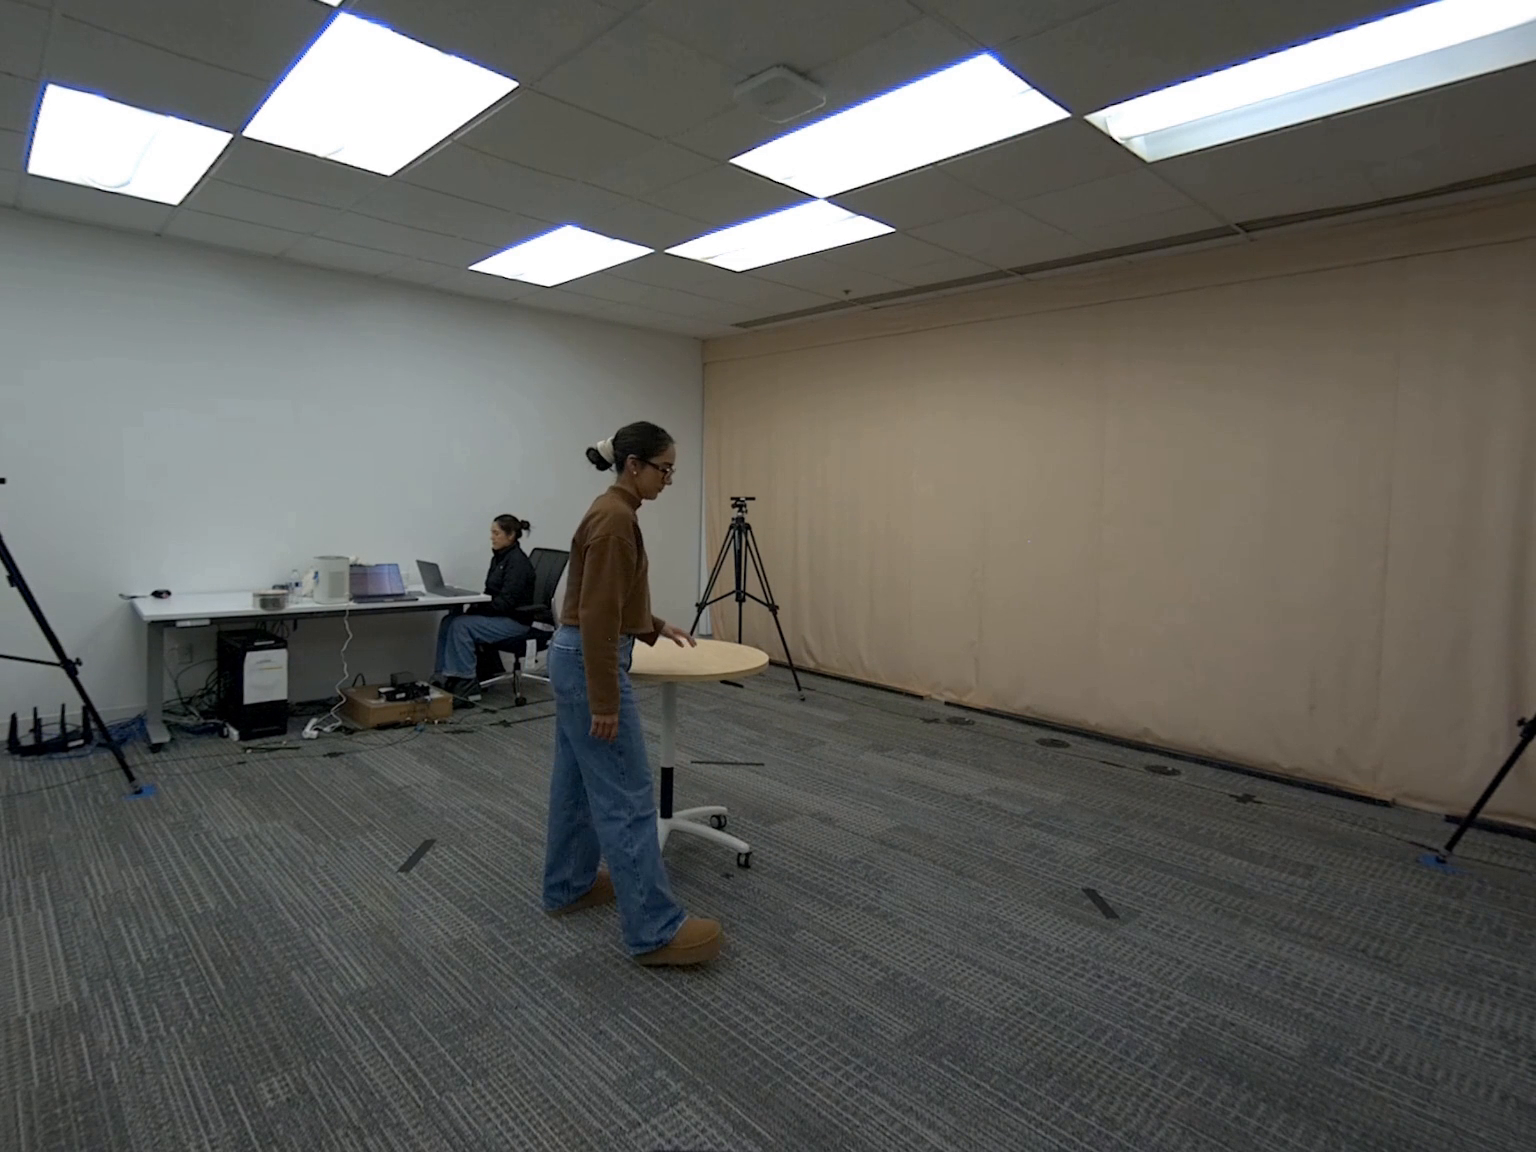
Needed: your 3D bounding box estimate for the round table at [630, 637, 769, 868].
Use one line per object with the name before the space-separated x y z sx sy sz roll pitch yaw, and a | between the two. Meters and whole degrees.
round table | -0.399 0.698 3.281 0.763 0.792 0.766 2 4 -1
